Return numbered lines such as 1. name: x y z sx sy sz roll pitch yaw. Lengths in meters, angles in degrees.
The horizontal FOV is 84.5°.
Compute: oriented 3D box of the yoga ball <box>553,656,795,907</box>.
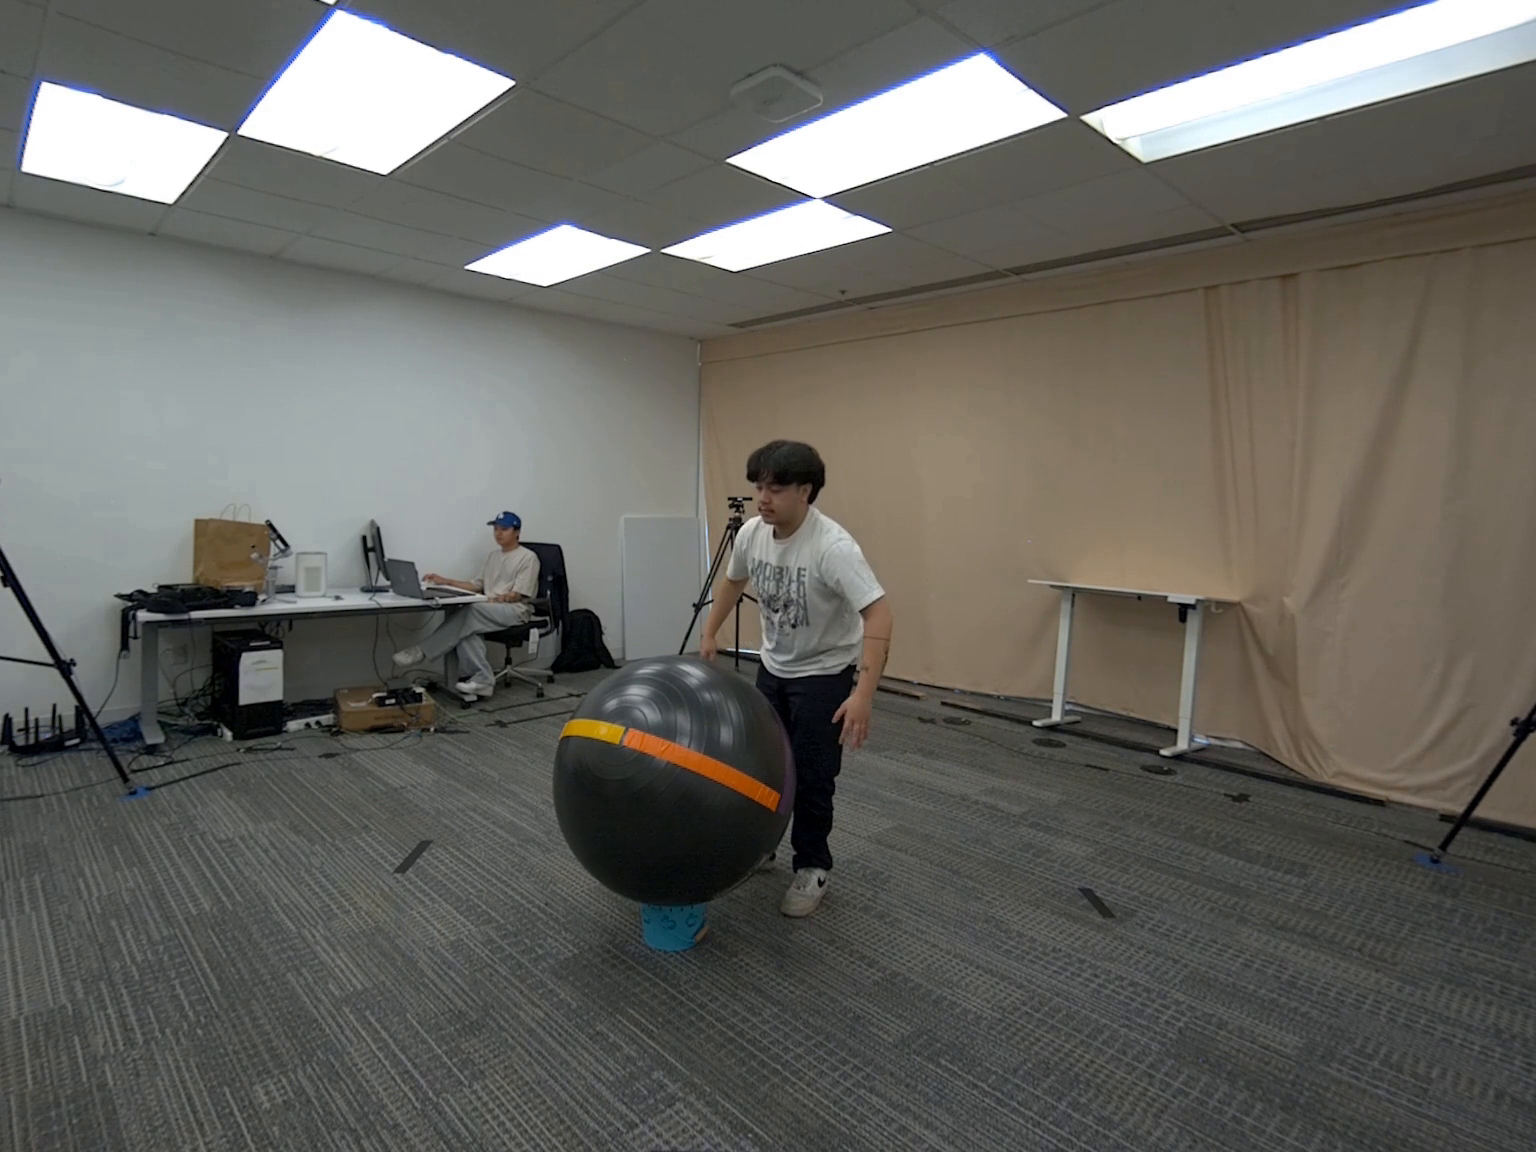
1. yoga ball: -0.303 0.641 2.650 0.757 0.756 0.760 1 4 -1
